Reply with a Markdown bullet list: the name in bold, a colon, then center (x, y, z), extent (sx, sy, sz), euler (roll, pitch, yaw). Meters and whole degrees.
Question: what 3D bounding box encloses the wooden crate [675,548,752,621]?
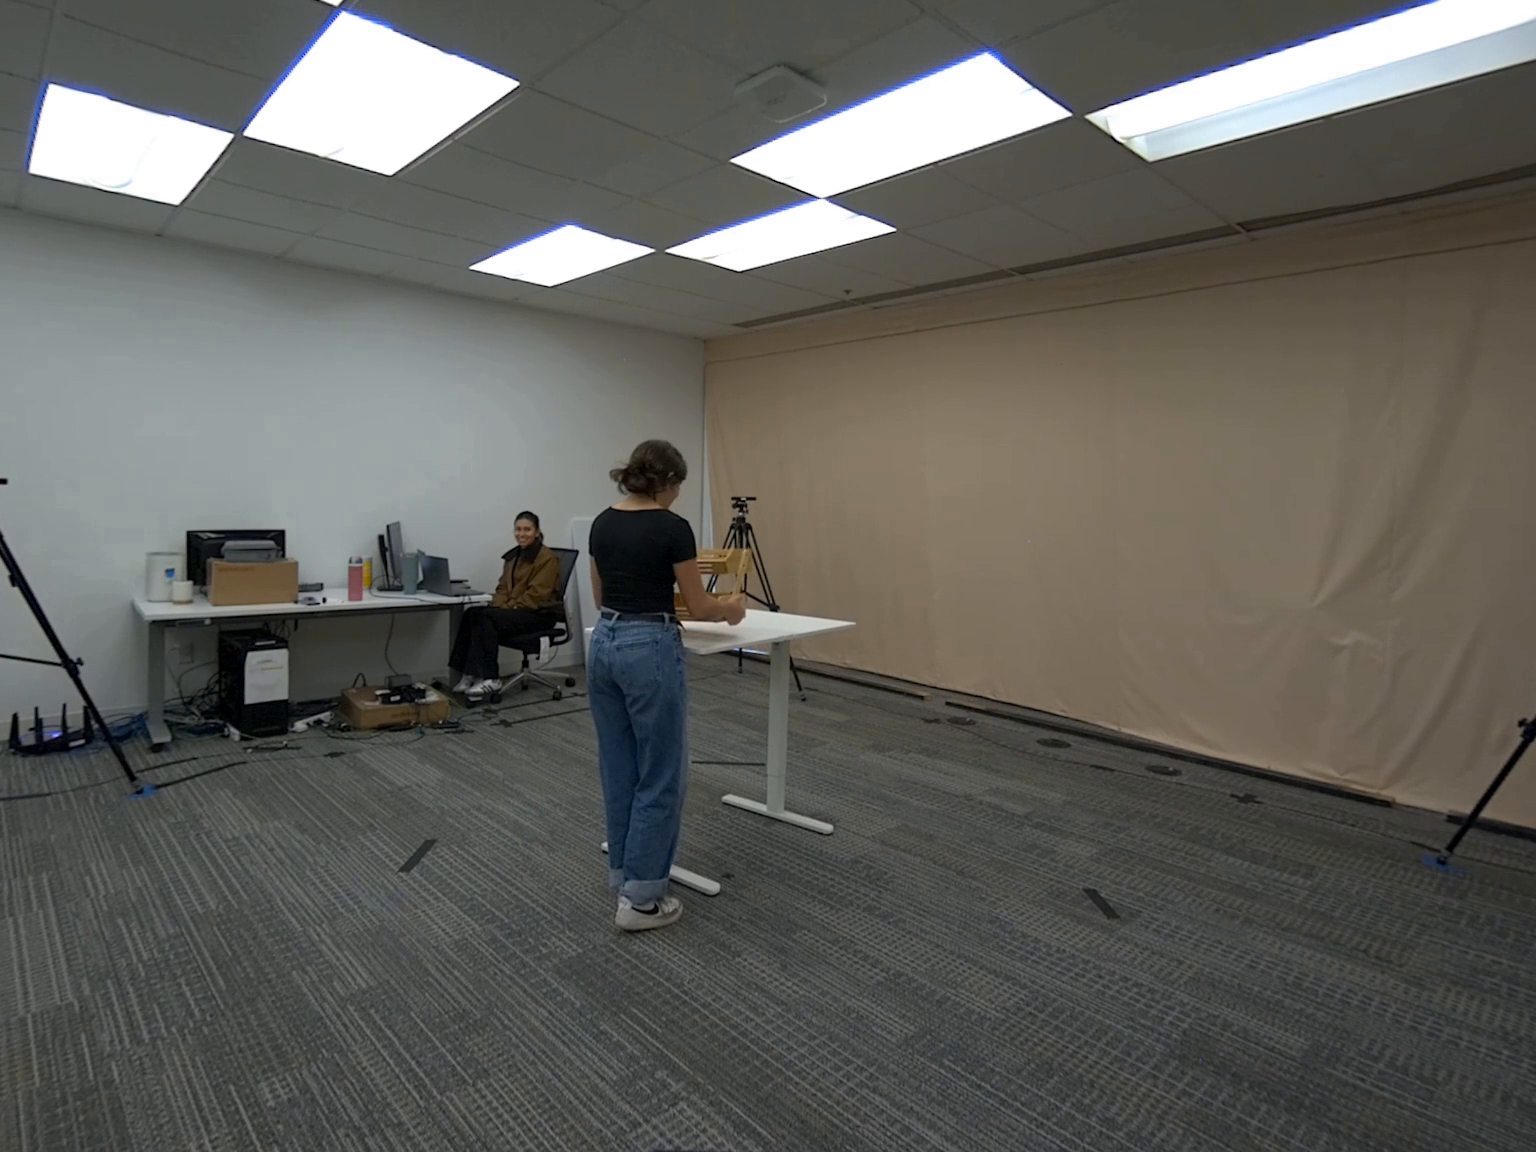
- **wooden crate**: center (-0.268, 0.028, 3.127), extent (0.331, 0.273, 0.296), euler (0, 1, 26)
